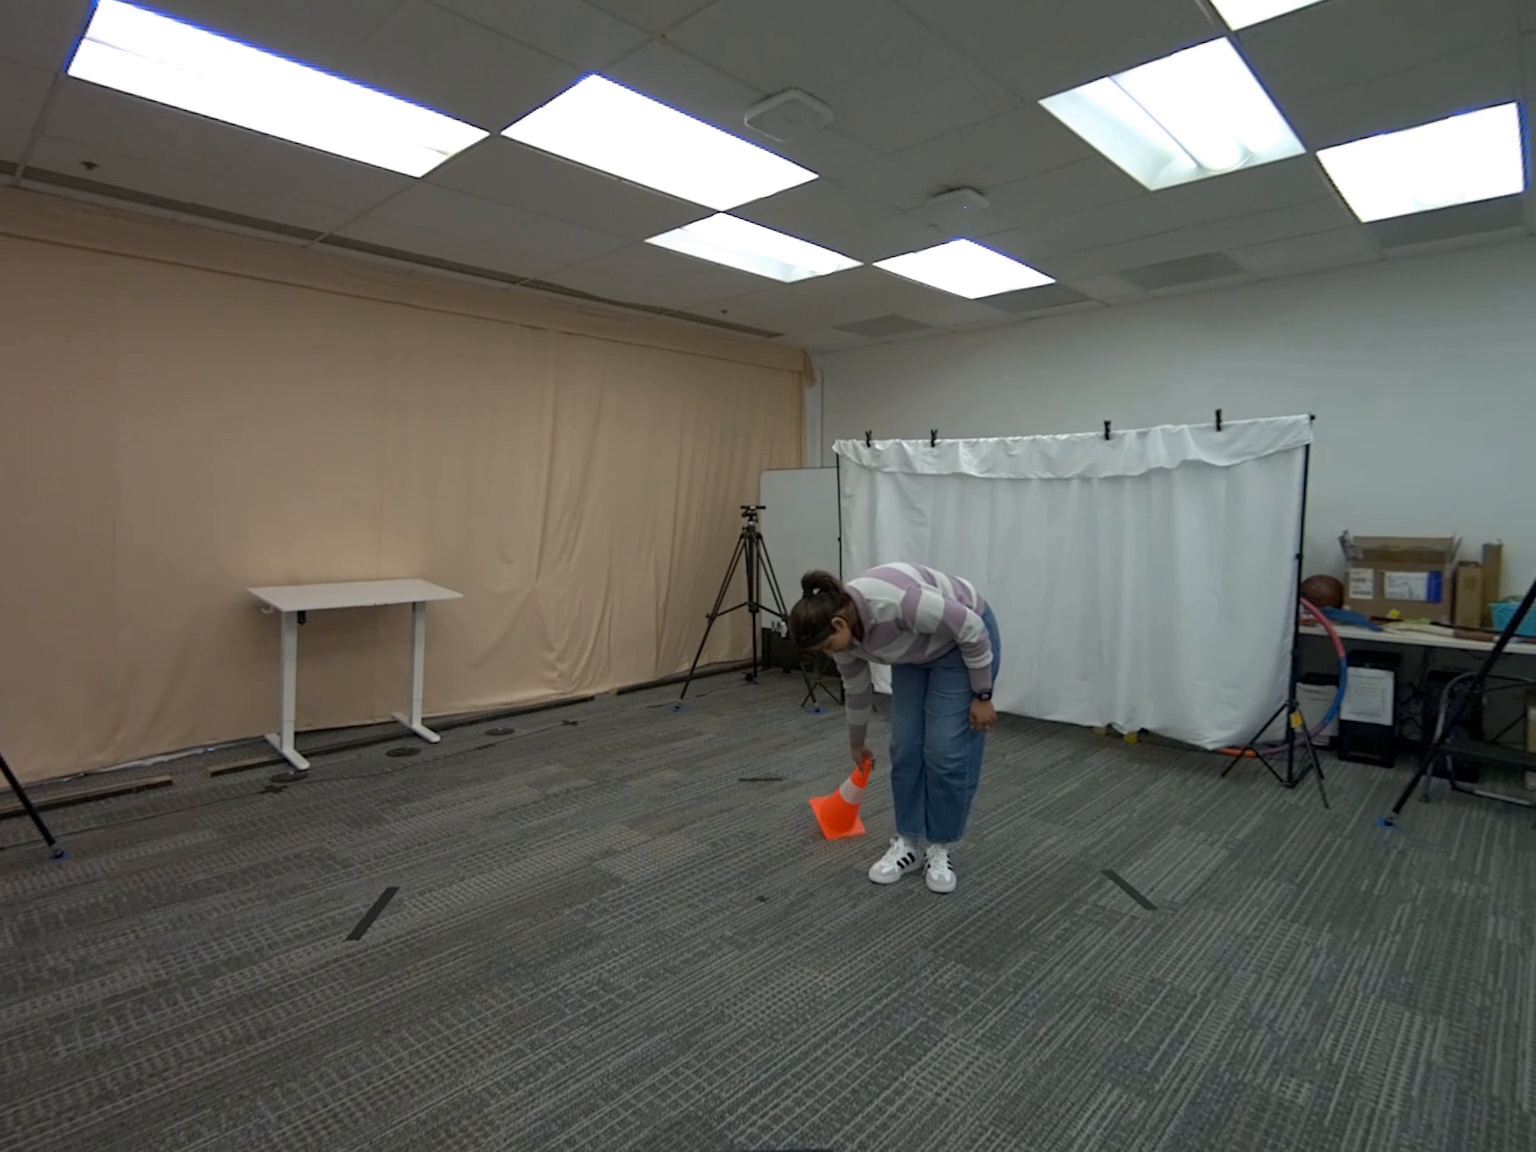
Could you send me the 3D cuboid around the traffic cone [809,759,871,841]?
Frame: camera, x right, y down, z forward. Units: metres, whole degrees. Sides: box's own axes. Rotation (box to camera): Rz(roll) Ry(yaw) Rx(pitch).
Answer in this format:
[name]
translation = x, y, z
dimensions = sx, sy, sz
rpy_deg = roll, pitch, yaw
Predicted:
[traffic cone]
translation = 0.350, 0.889, 3.504
dimensions = 0.200, 0.382, 0.209
rpy_deg = 2, 42, -26
